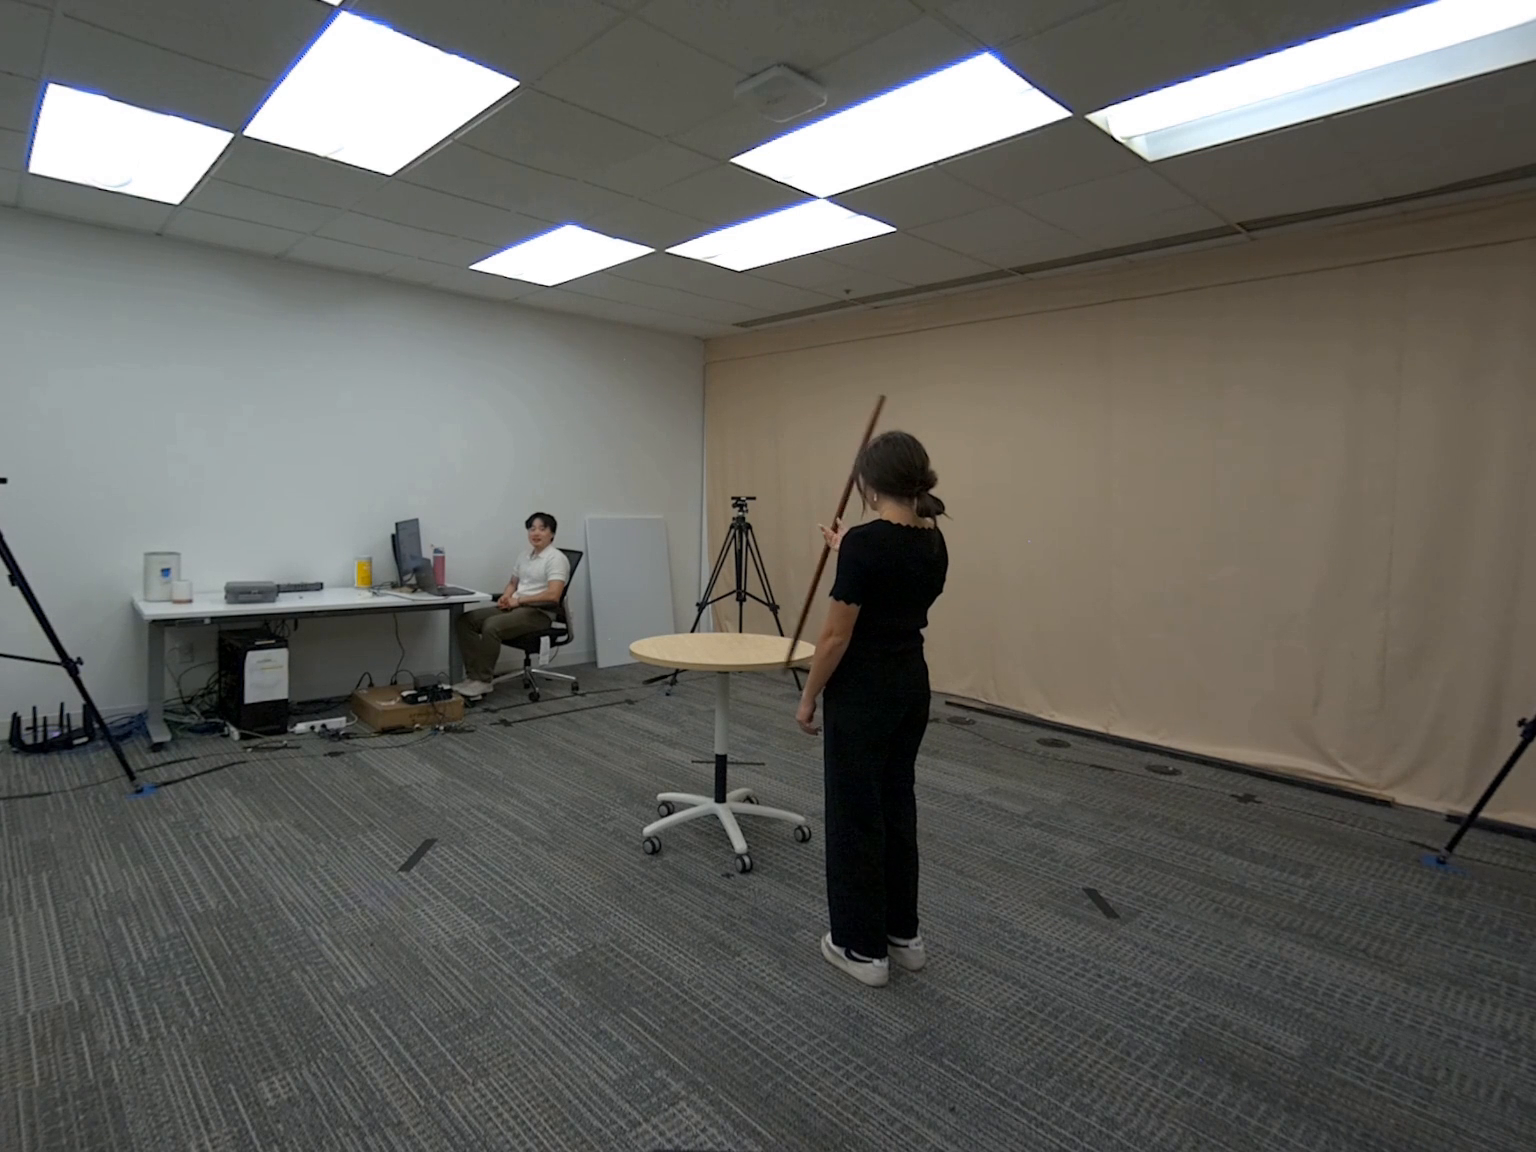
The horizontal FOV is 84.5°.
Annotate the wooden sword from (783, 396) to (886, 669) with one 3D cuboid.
[{"bbox_3d":[0.228,-0.150,2.899,0.025,1.025,0.050,20,0,38],"label":"wooden sword"}]
